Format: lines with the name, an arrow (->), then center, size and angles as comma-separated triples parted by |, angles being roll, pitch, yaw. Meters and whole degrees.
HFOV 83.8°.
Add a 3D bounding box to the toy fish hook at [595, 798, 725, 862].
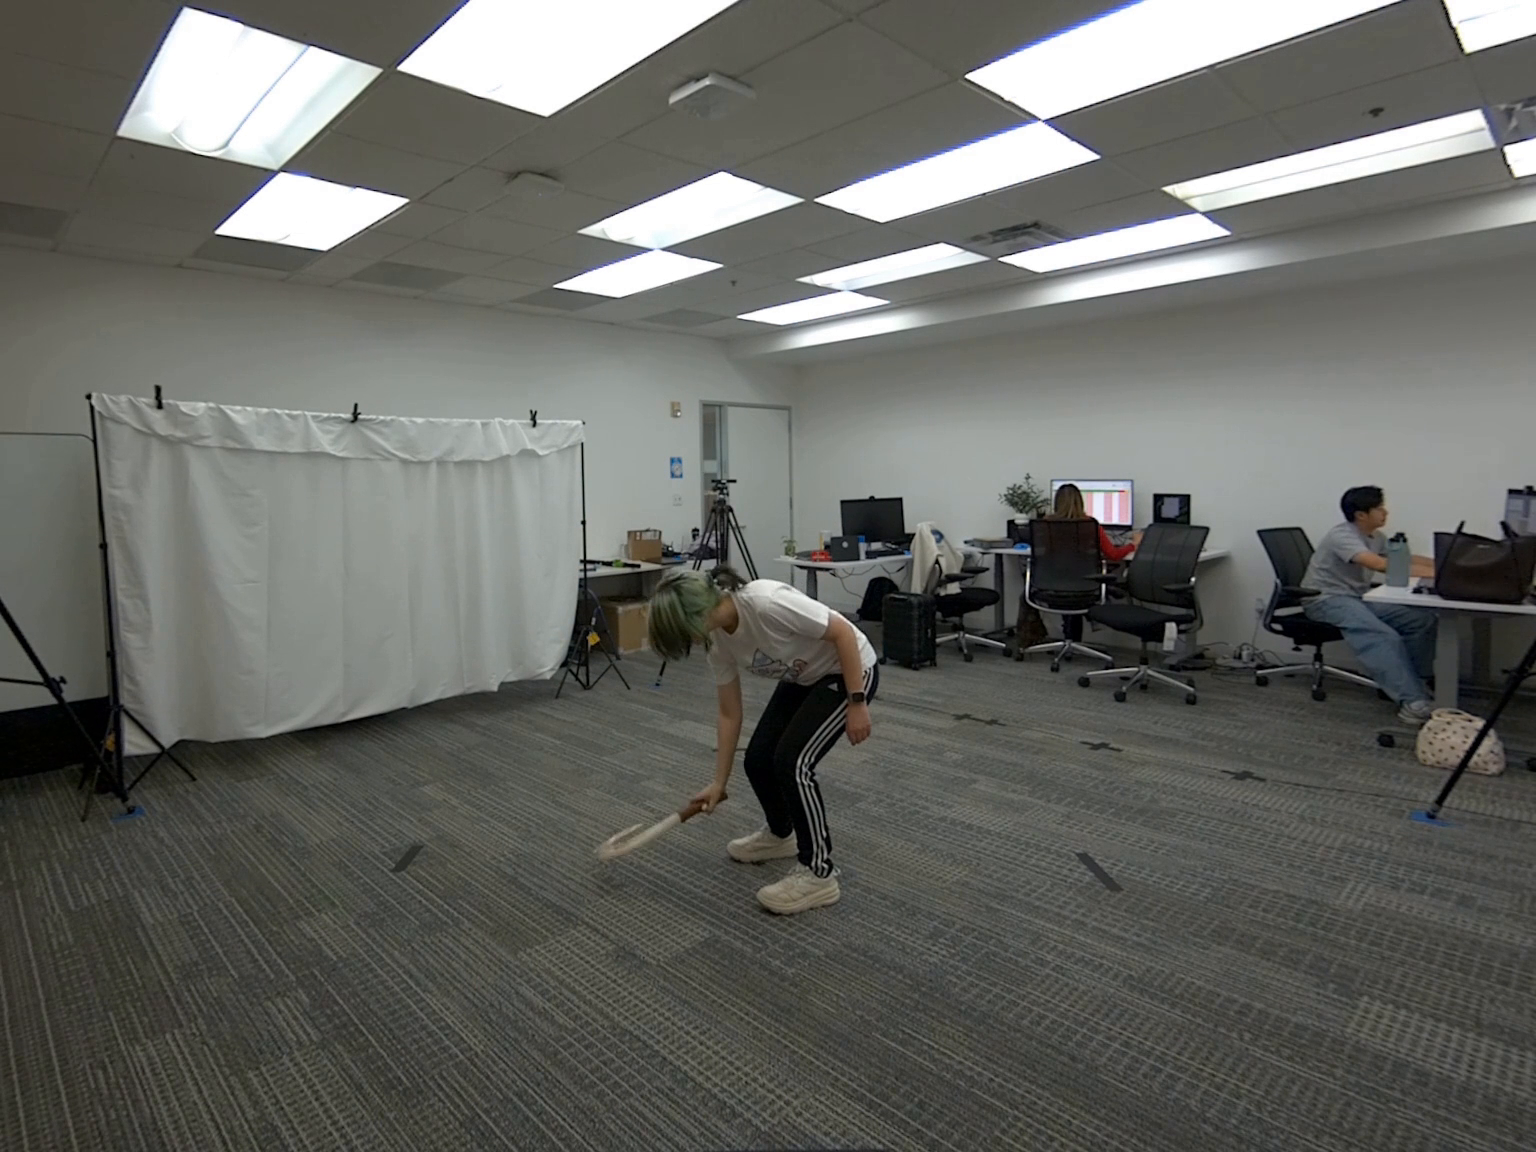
toy fish hook -> -0.381, 0.867, 2.992 | 0.502, 0.048, 0.228 | -22, 6, -16
